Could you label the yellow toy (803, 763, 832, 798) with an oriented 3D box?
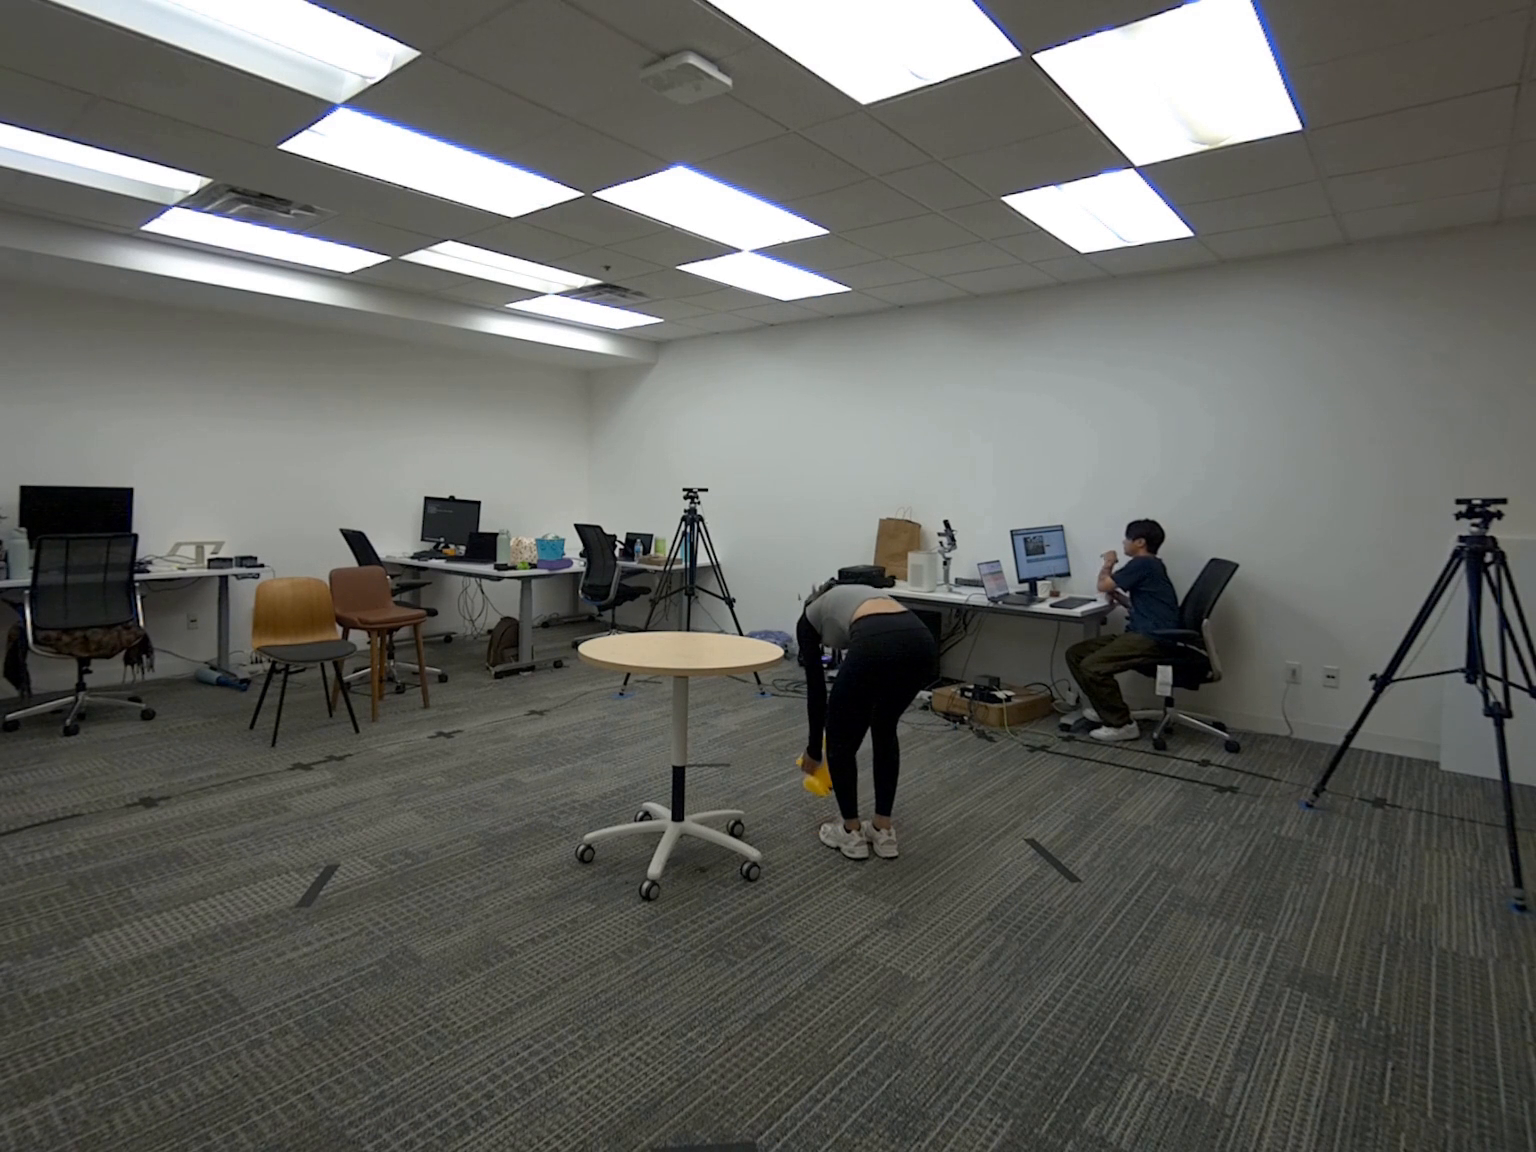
[{"bbox_3d":[0.248,0.764,3.591,0.200,0.229,0.199,-1,10,-27],"label":"yellow toy"}]
